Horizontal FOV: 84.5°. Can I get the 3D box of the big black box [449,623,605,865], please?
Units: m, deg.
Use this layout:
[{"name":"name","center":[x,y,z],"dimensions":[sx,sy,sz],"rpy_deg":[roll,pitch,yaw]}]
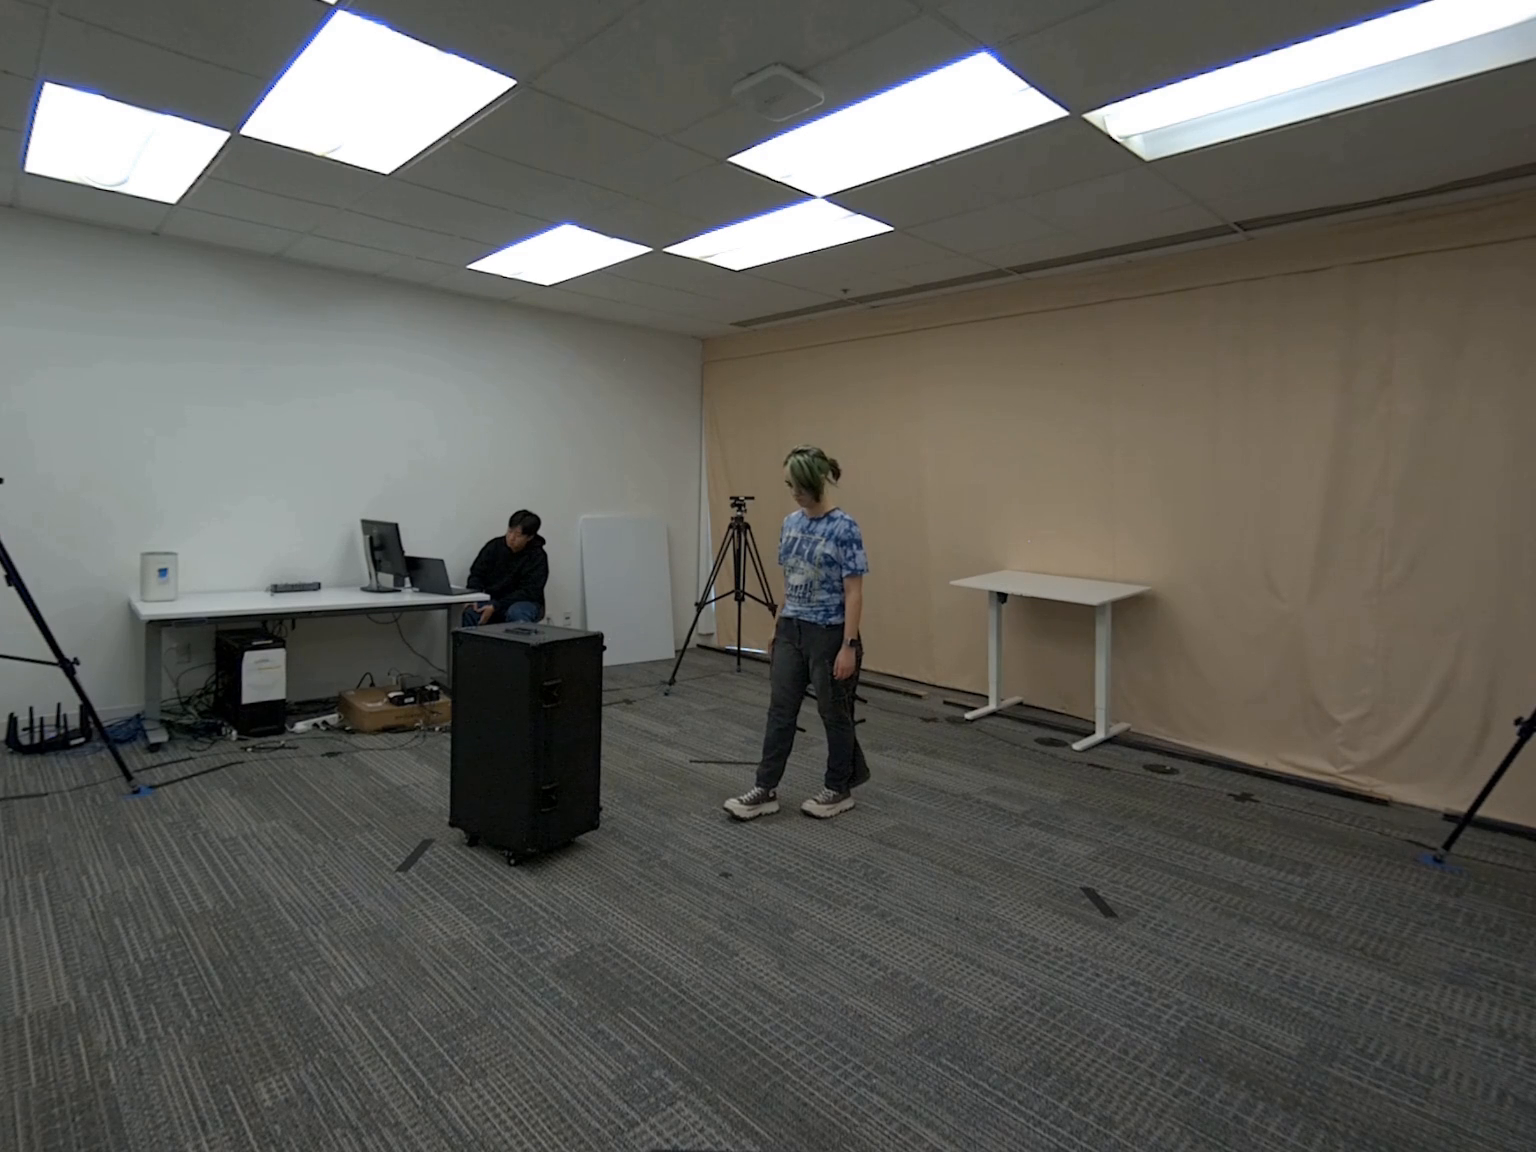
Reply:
[{"name":"big black box","center":[-0.958,0.641,3.329],"dimensions":[0.533,0.860,0.387],"rpy_deg":[4,3,34]}]
